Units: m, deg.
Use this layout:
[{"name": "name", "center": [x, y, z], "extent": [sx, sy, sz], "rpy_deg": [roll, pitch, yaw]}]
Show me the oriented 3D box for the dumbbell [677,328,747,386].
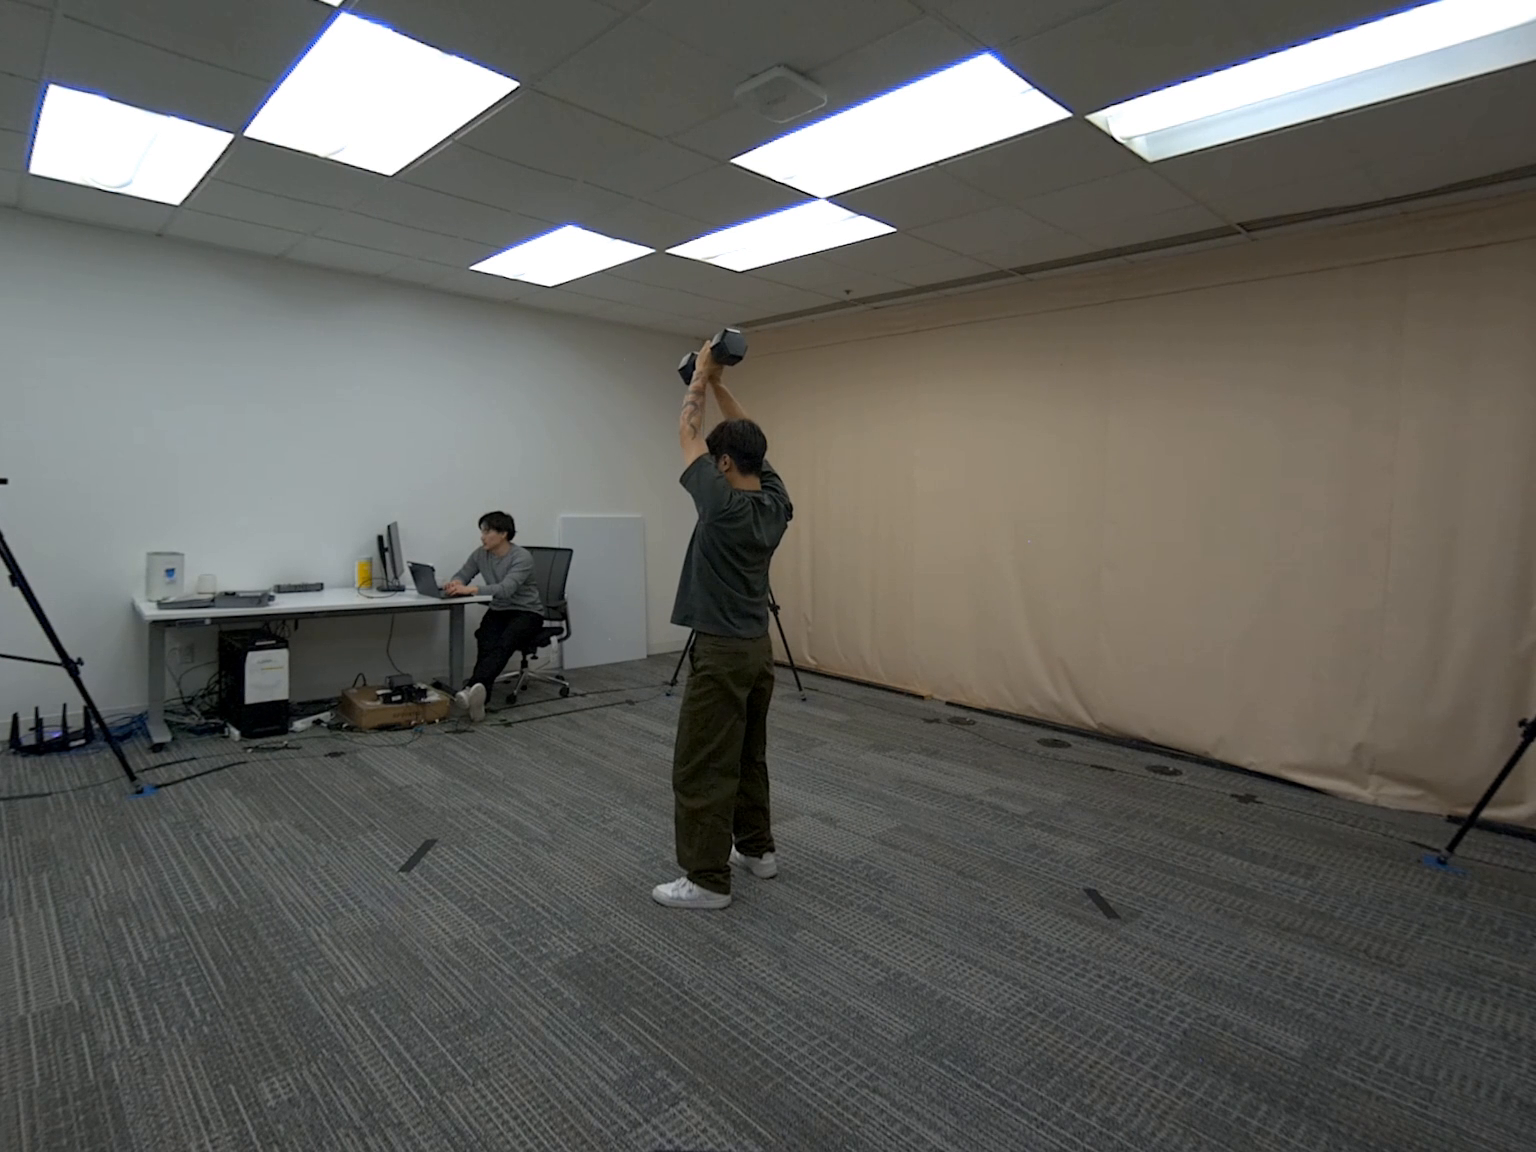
[{"name": "dumbbell", "center": [-0.206, -0.777, 2.985], "extent": [0.108, 0.122, 0.298], "rpy_deg": [-38, 13, -37]}]
